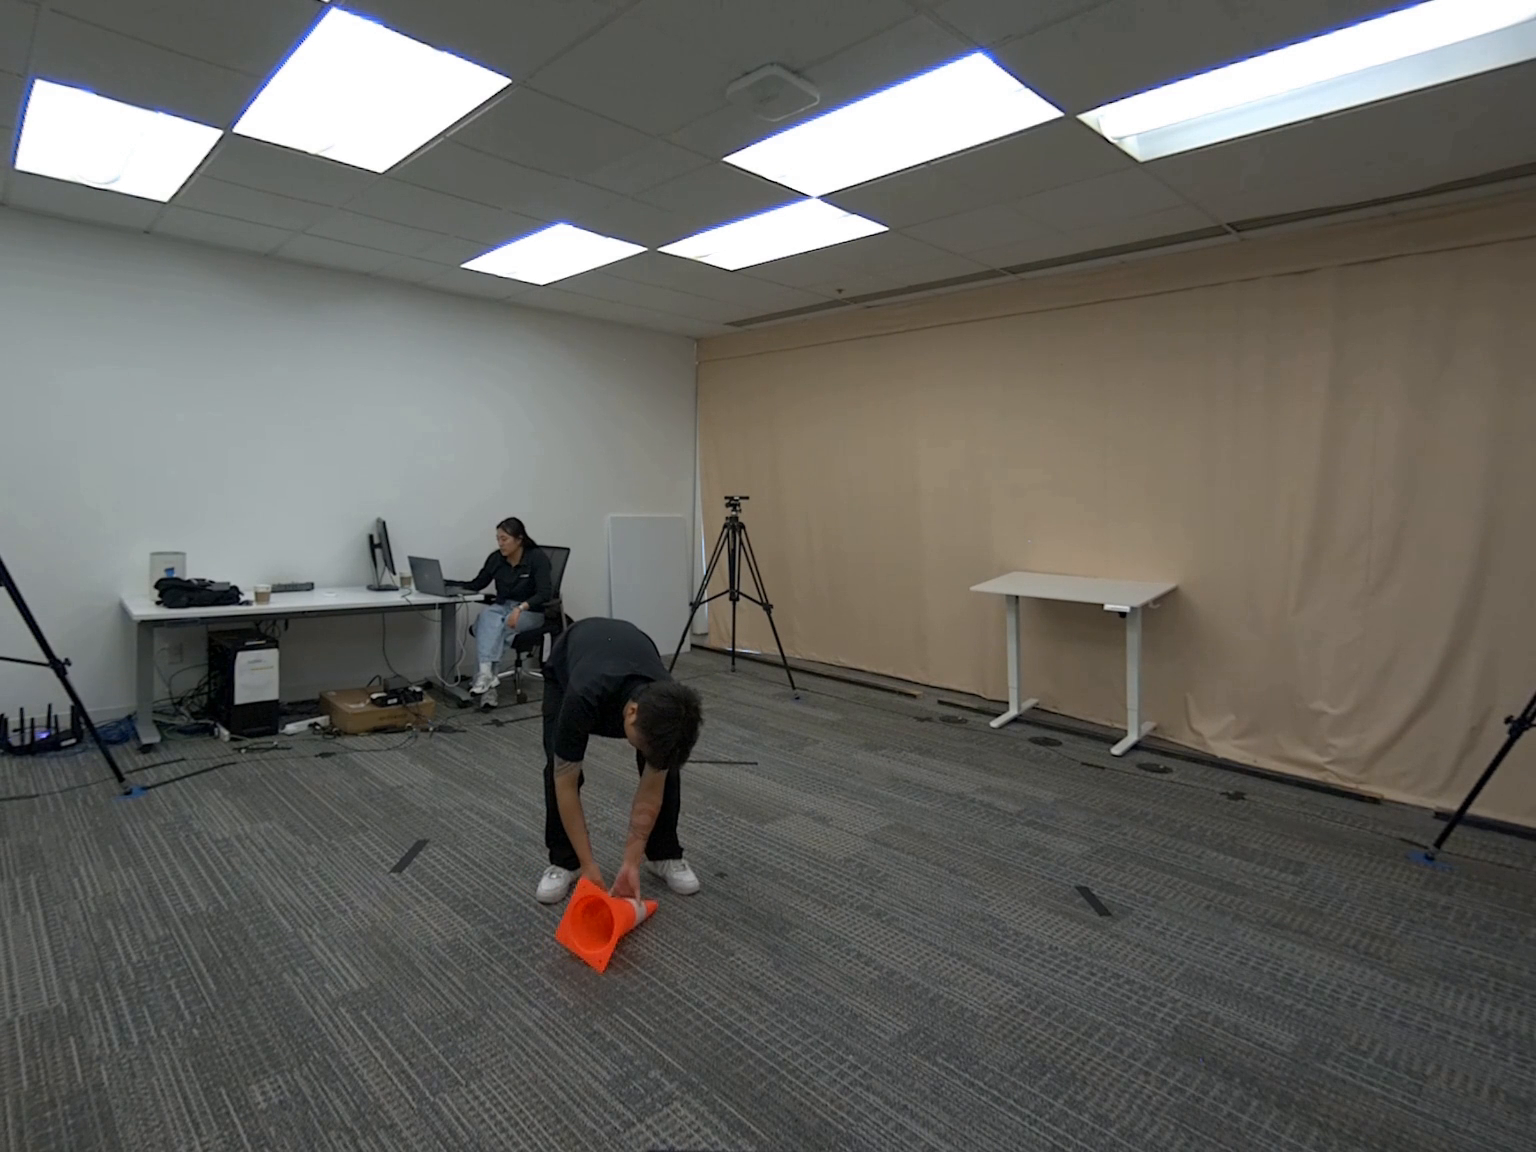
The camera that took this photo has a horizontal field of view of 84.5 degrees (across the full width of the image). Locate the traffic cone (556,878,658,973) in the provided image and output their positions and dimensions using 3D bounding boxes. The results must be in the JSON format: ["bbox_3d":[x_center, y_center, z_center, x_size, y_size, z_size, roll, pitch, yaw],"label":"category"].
[{"bbox_3d":[-0.462,1.088,2.664,0.208,0.205,0.374,24,-2,27],"label":"traffic cone"}]
